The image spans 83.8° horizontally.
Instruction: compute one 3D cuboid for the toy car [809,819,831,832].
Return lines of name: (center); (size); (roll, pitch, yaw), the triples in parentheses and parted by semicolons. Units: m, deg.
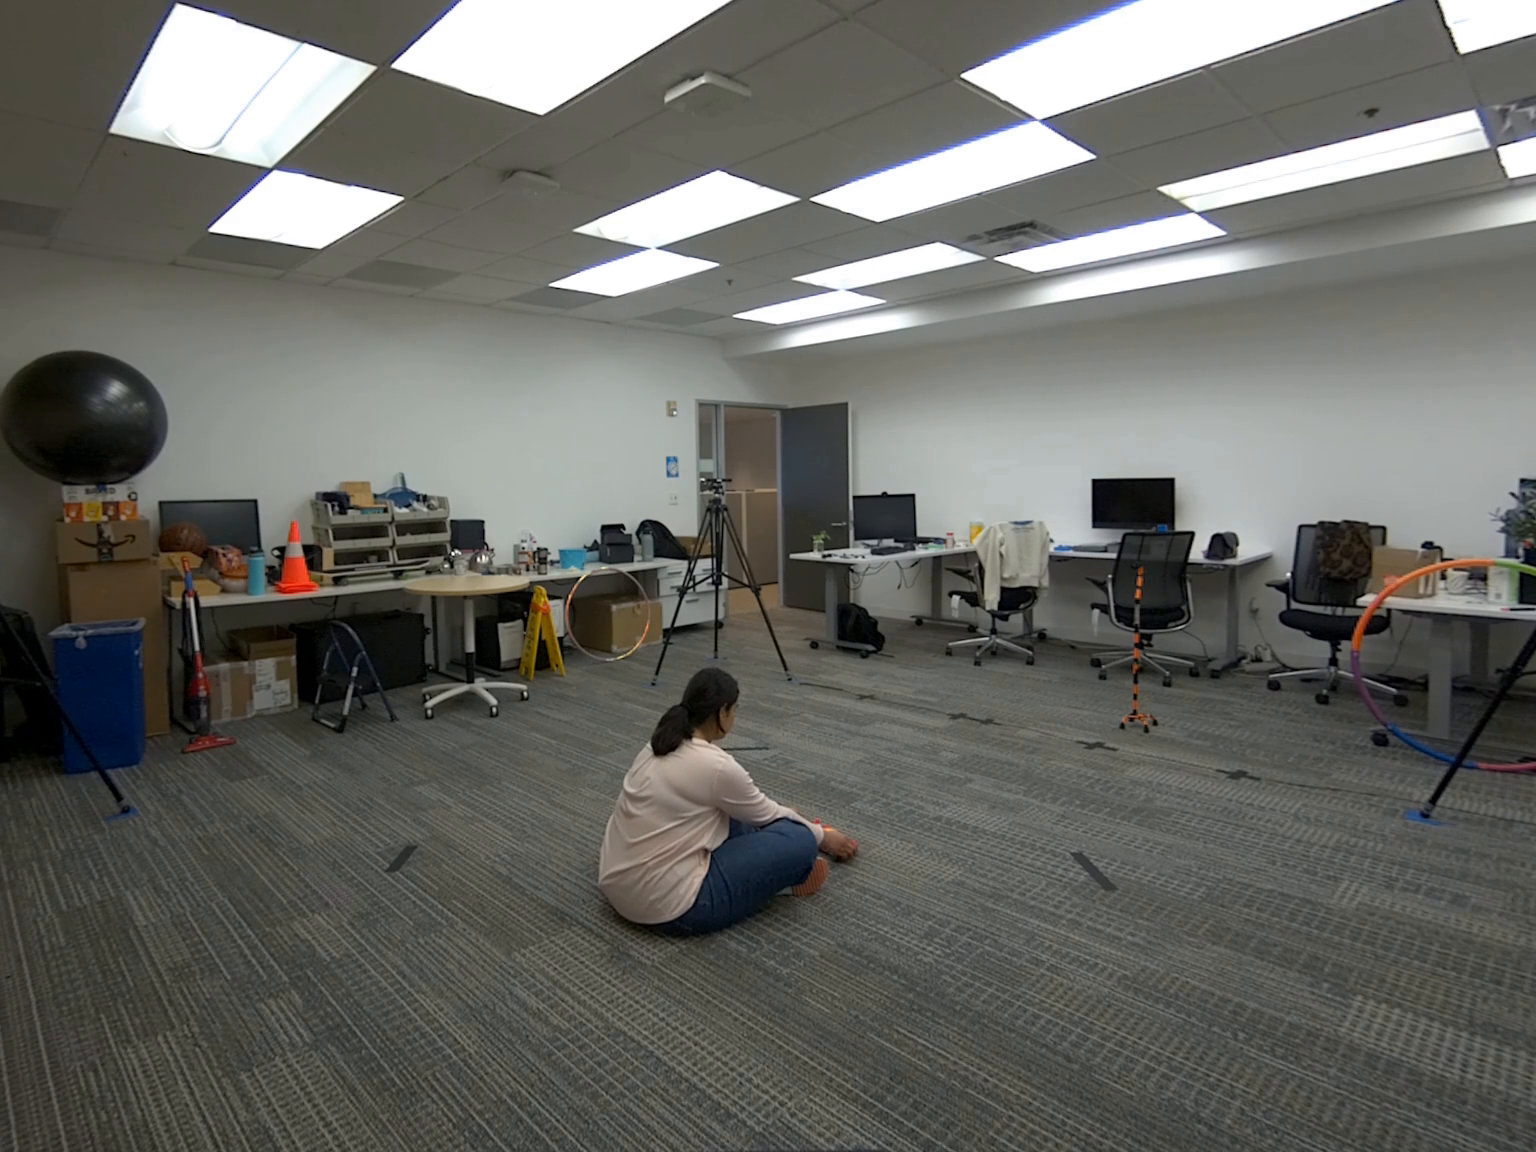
toy car: (0.220, 0.982, 3.226); (0.127, 0.082, 0.264); (-5, 19, -37)
